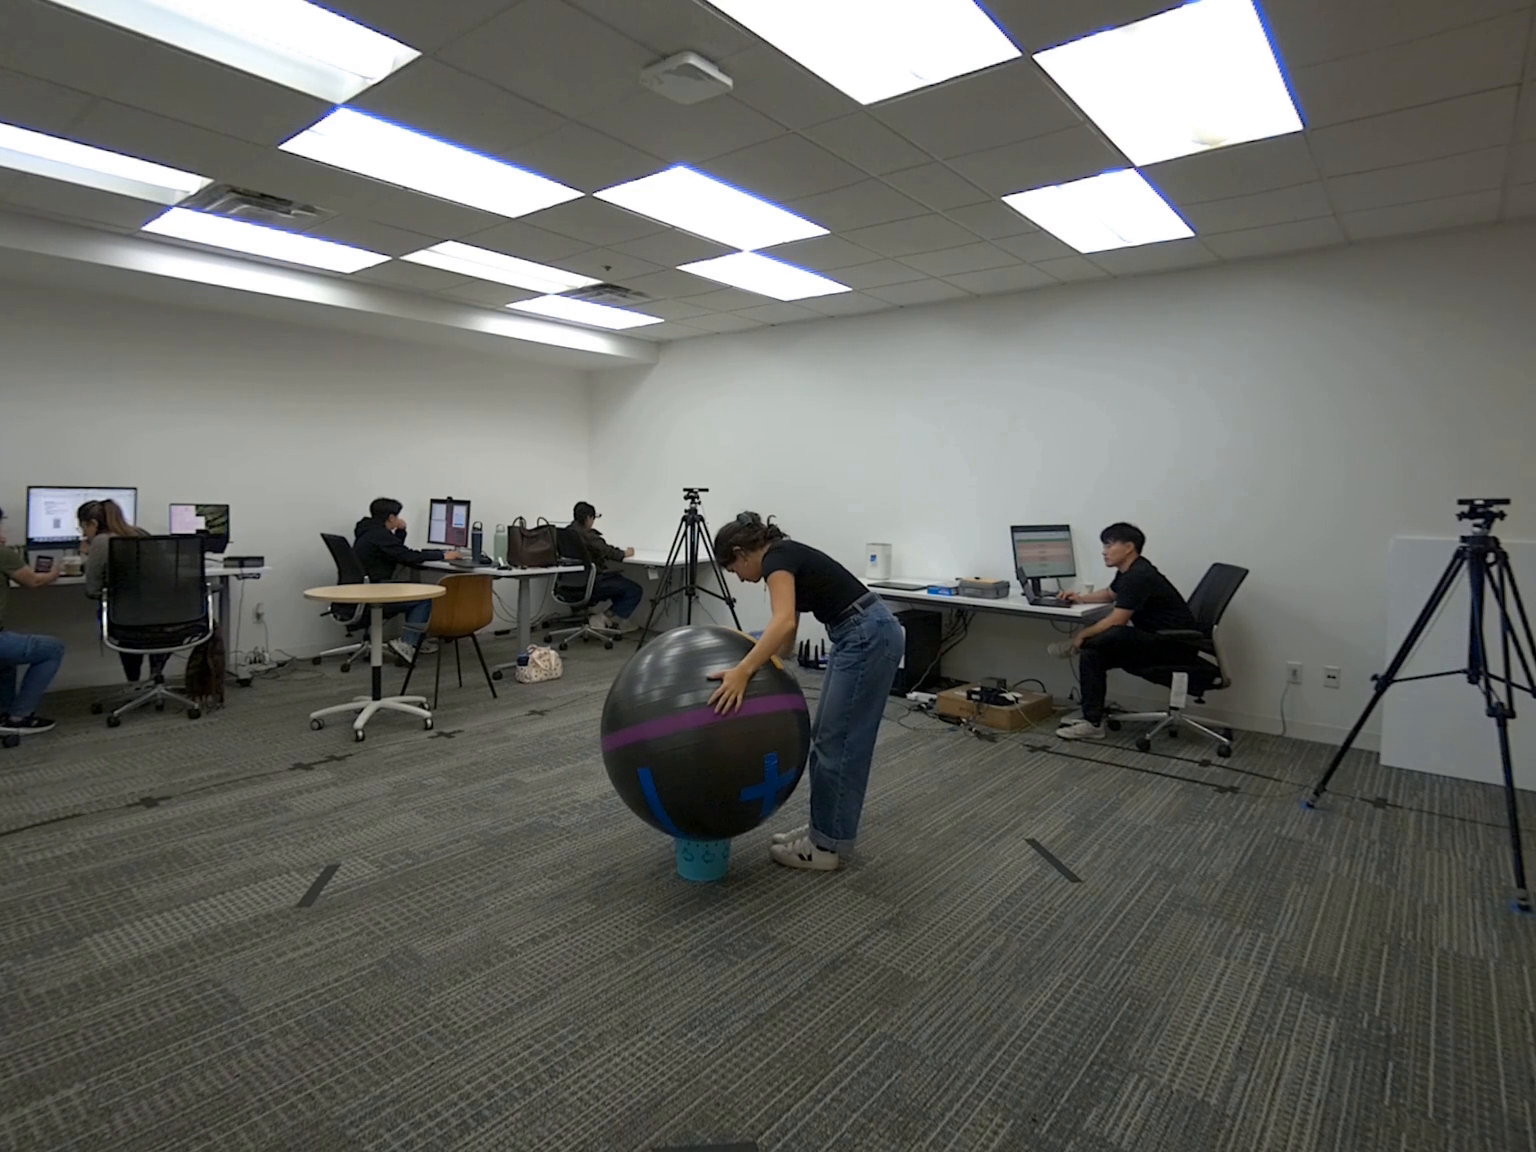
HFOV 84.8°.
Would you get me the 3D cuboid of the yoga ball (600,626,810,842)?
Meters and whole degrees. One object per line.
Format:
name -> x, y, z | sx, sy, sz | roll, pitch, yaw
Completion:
yoga ball -> -0.244, 0.562, 3.080 | 0.757, 0.756, 0.762 | 1, 4, -2
